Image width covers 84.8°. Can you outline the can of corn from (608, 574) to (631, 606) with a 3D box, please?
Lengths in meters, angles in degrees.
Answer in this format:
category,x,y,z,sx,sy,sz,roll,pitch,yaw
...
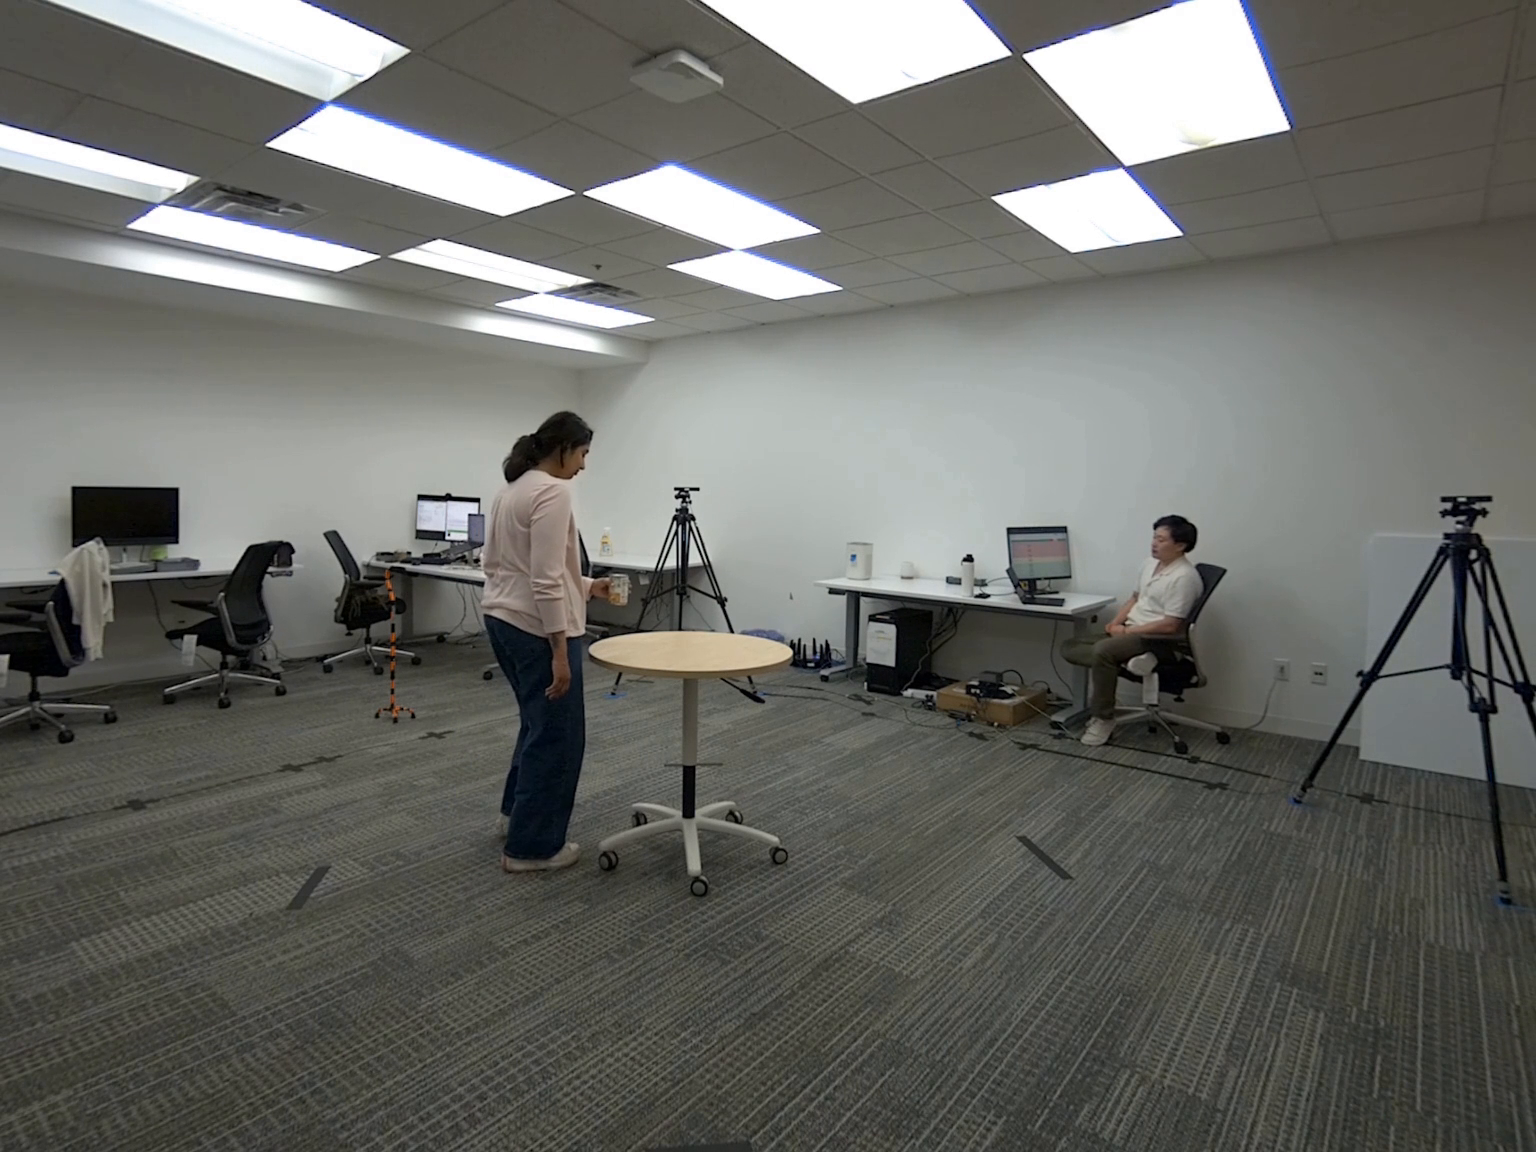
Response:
category,x,y,z,sx,sy,sz,roll,pitch,yaw
can of corn,-0.601,0.049,3.315,0.074,0.111,0.074,4,4,-2
